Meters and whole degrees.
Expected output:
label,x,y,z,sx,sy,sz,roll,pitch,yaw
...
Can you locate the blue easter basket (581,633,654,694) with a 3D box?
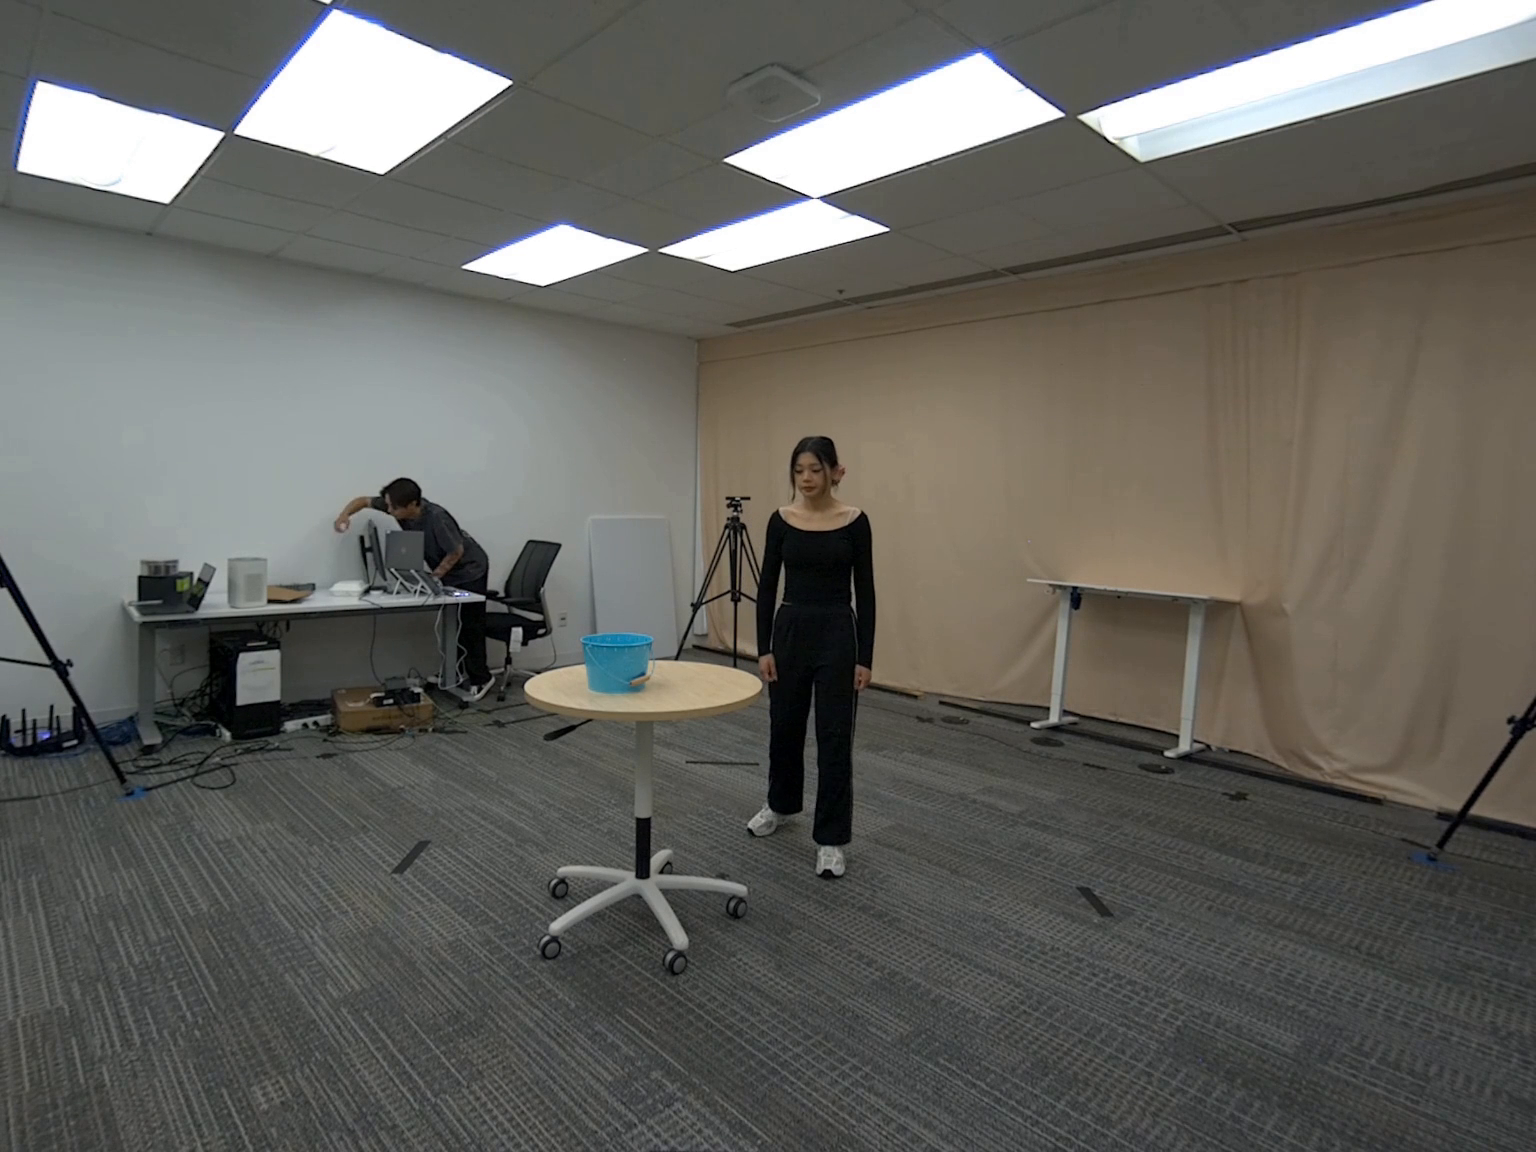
label,x,y,z,sx,sy,sz,roll,pitch,yaw
blue easter basket,-0.493,0.286,2.656,0.243,0.155,0.244,1,4,-1
